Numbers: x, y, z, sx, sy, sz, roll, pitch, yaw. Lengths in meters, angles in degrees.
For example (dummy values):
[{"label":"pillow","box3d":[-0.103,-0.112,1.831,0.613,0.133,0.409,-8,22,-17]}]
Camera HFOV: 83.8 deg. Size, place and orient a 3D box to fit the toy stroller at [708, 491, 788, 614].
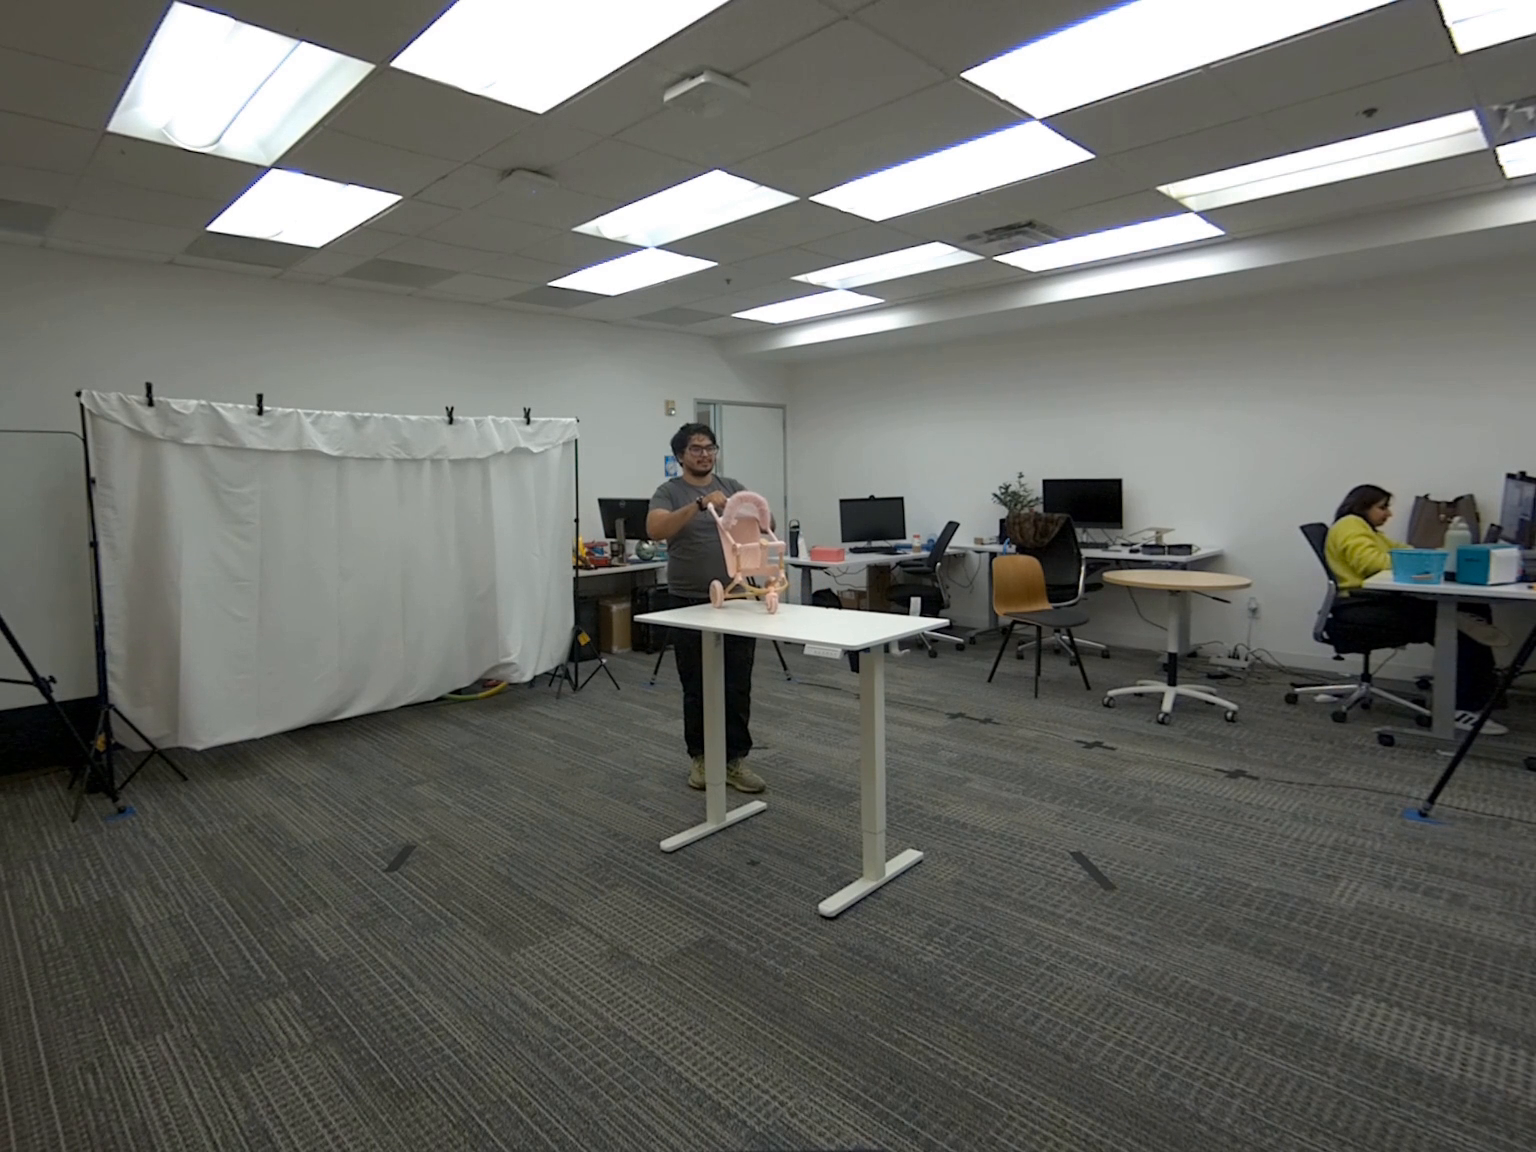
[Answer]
[{"label":"toy stroller","box3d":[-0.073,-0.096,3.406,0.276,0.541,0.344,-4,-10,-21]}]
